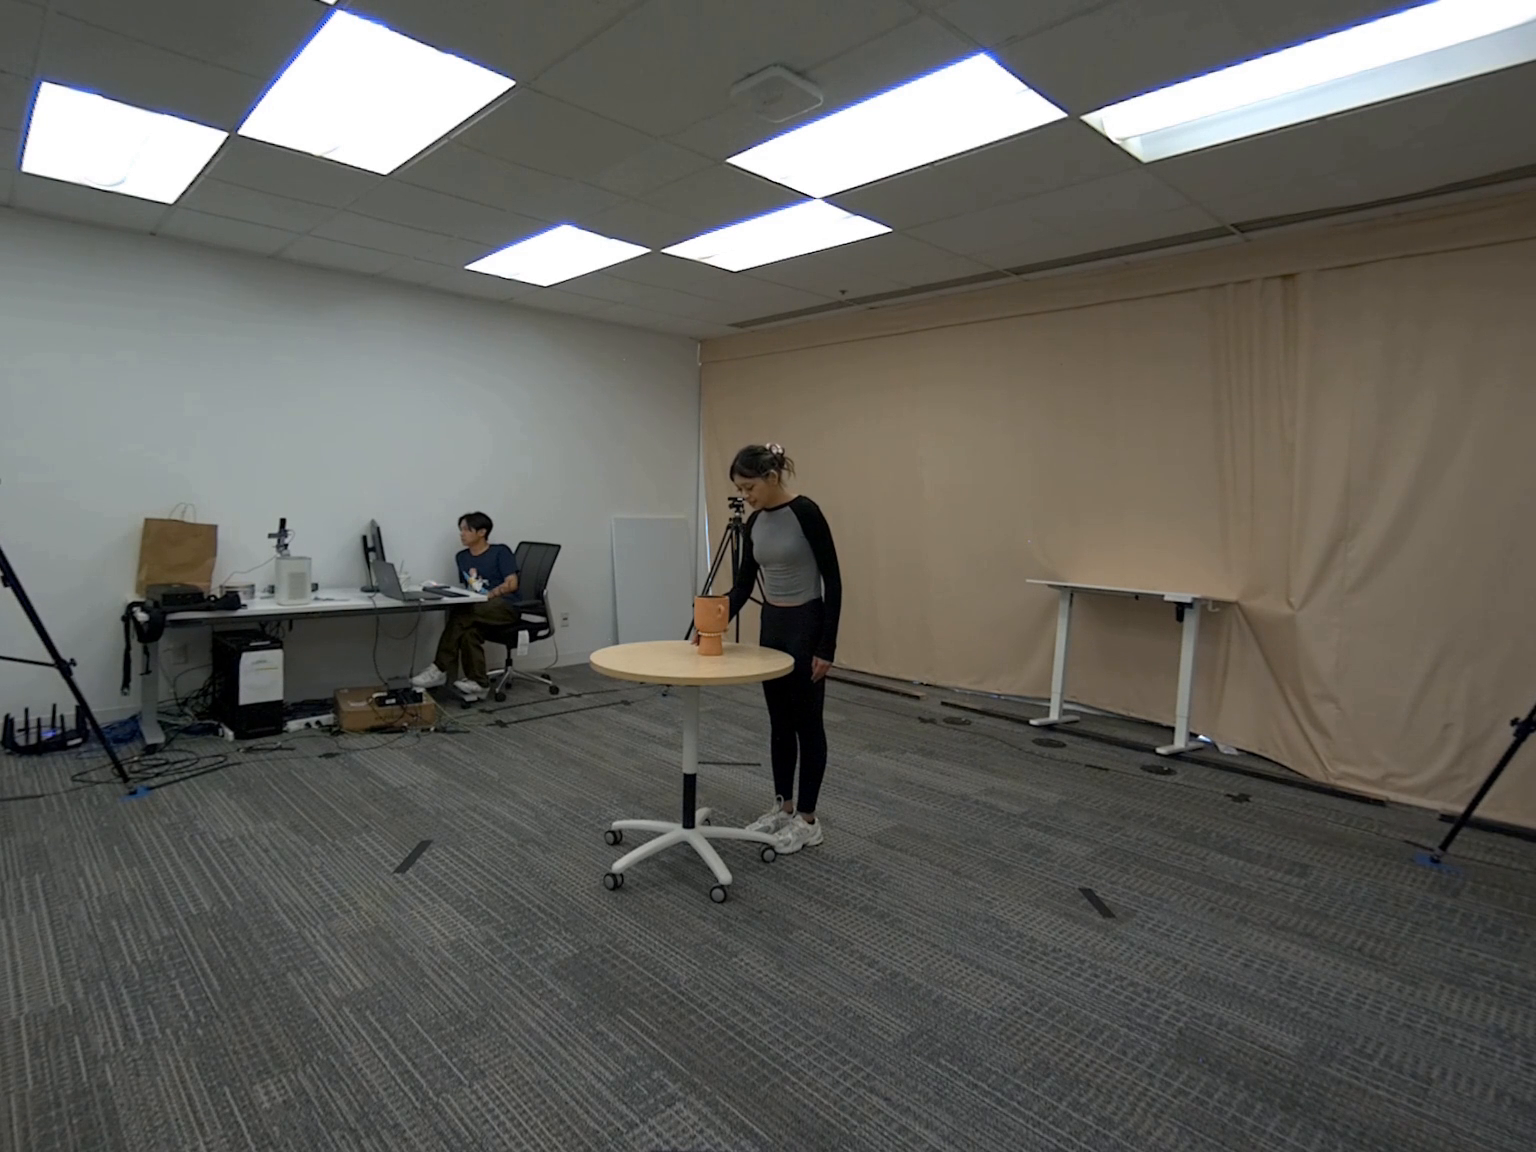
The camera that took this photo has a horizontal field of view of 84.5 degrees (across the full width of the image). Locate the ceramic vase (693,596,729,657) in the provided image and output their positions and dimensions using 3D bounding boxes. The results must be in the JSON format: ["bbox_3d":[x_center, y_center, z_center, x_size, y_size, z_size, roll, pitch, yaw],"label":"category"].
[{"bbox_3d":[-0.229,0.191,3.241,0.136,0.219,0.158,2,3,10],"label":"ceramic vase"}]
